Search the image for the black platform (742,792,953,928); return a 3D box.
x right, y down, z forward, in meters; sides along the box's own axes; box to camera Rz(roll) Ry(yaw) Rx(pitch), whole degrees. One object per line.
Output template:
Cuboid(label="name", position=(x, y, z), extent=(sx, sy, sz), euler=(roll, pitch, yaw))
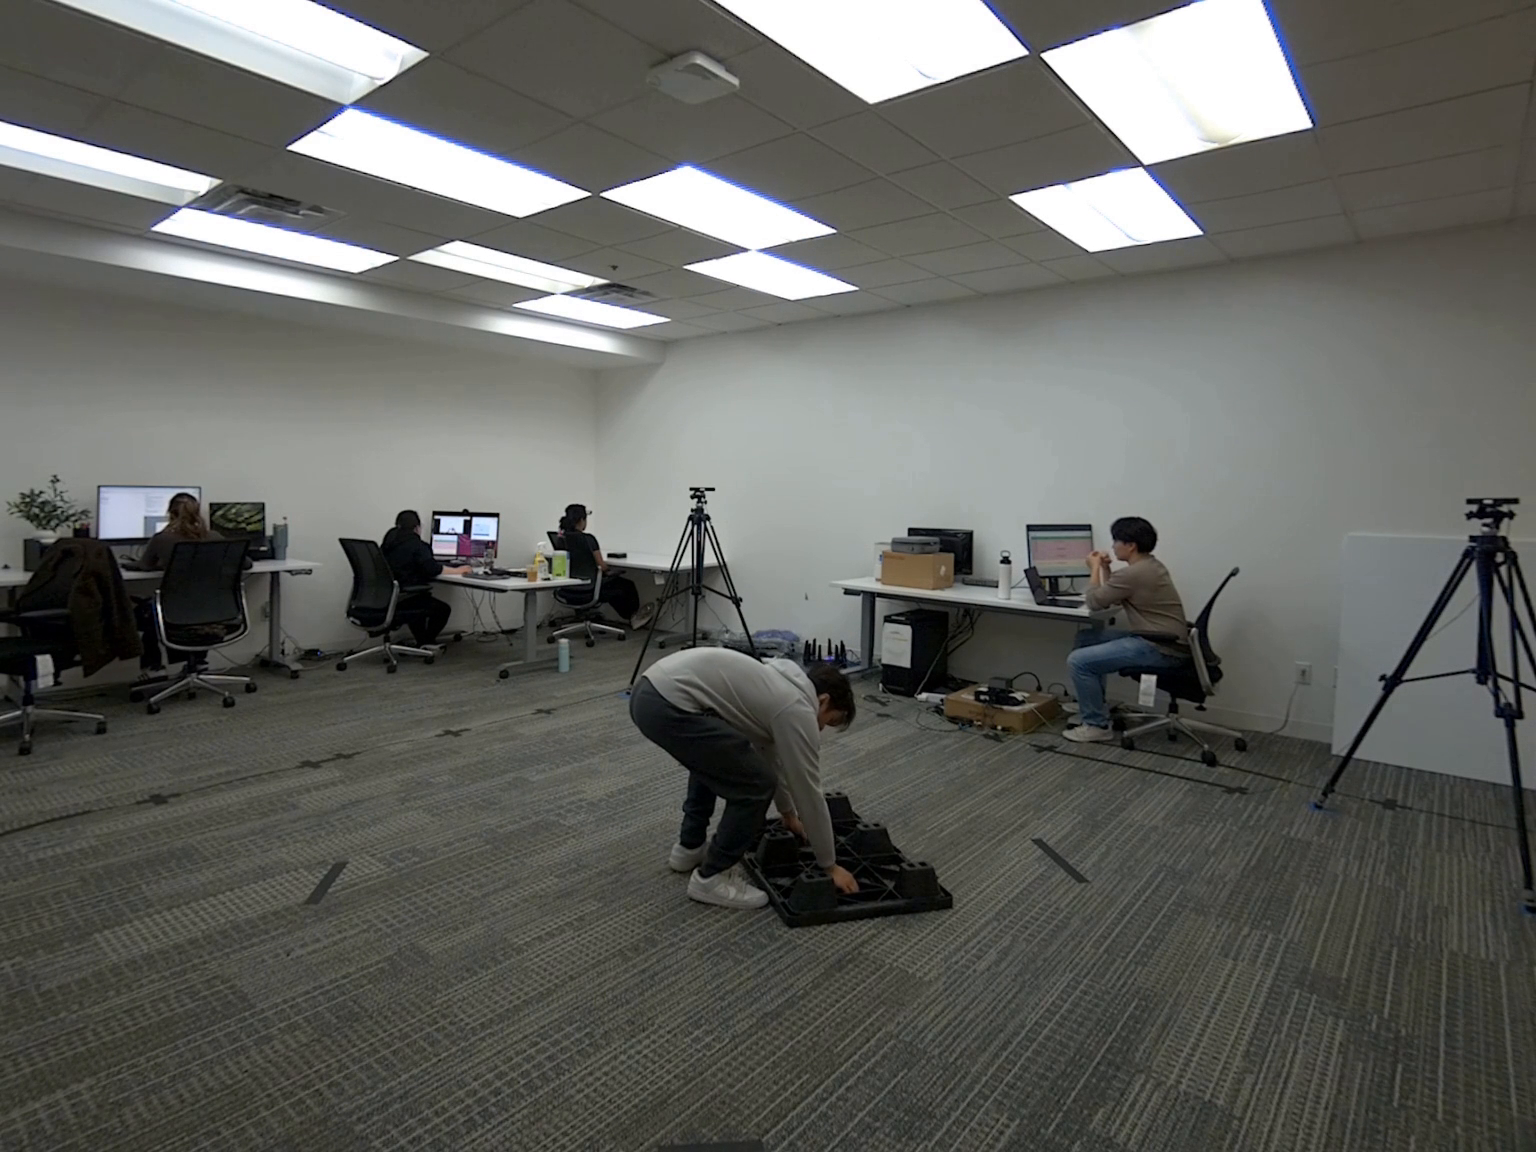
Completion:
Cuboid(label="black platform", position=(0.203, 0.999, 3.150), extent=(0.594, 0.143, 0.824), euler=(0, 5, -19))
